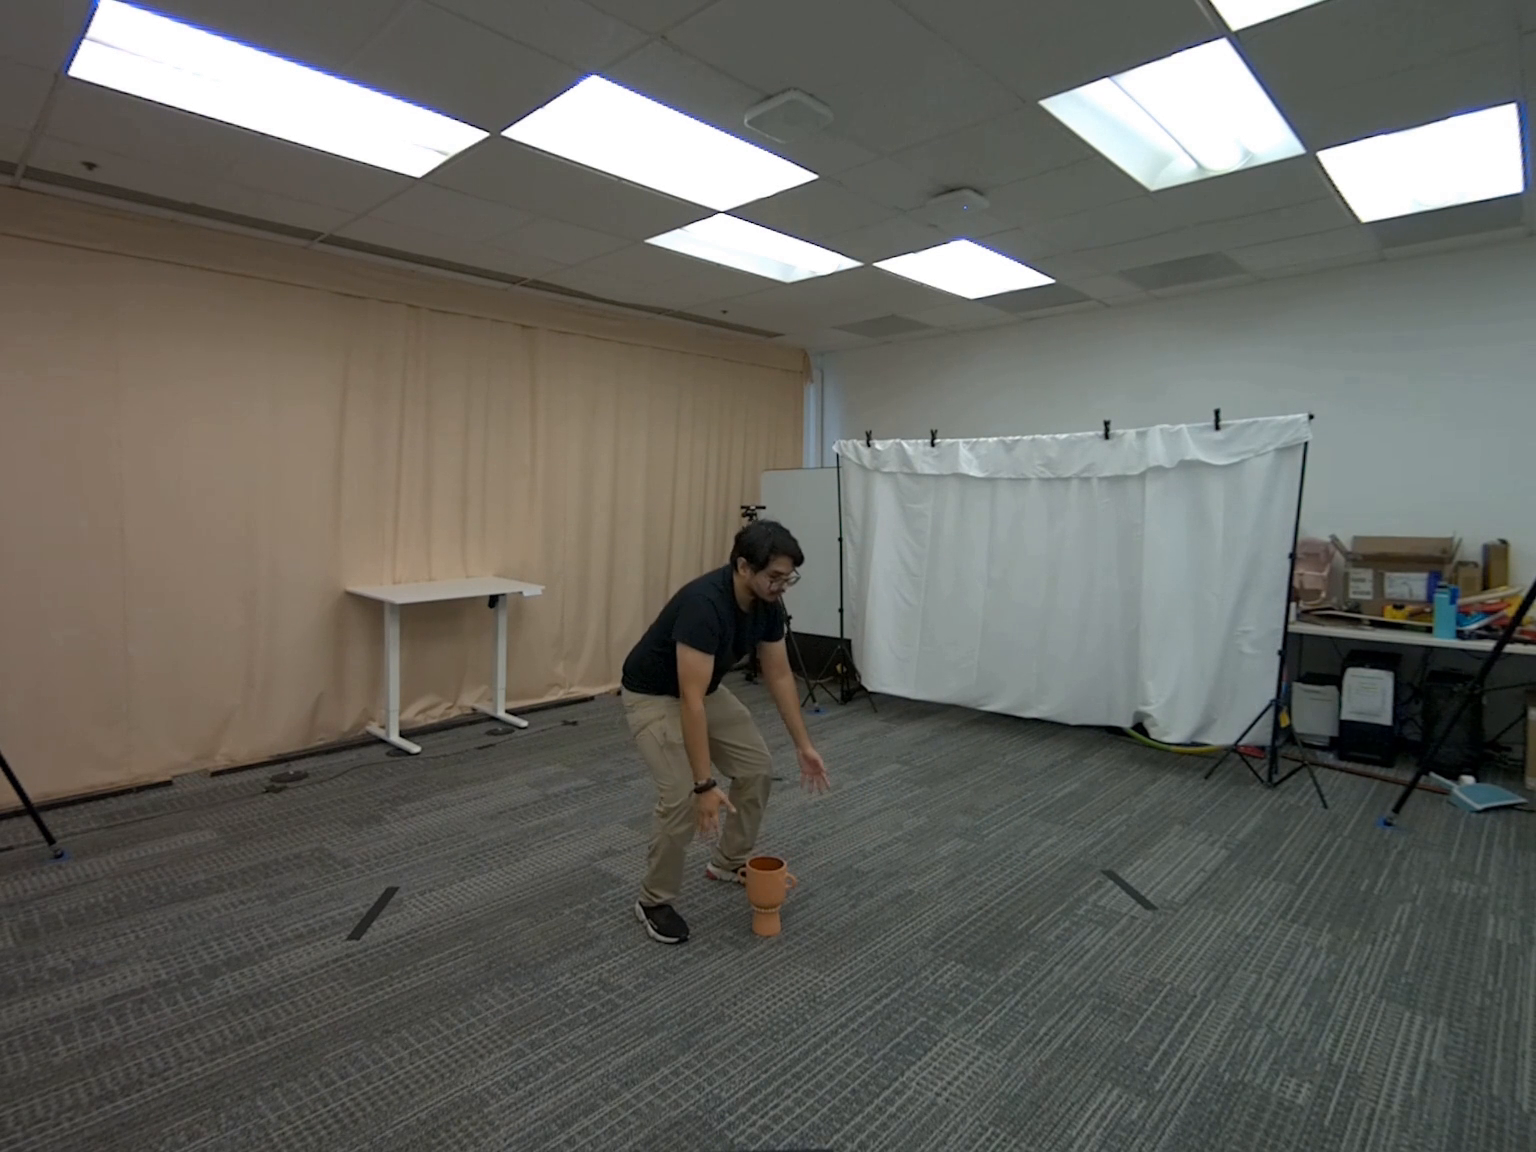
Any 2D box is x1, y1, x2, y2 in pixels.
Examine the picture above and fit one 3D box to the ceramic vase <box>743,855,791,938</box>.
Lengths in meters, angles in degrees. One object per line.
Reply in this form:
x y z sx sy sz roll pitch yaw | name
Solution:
0.001 1.053 2.753 0.131 0.219 0.164 -3 5 -37 | ceramic vase
